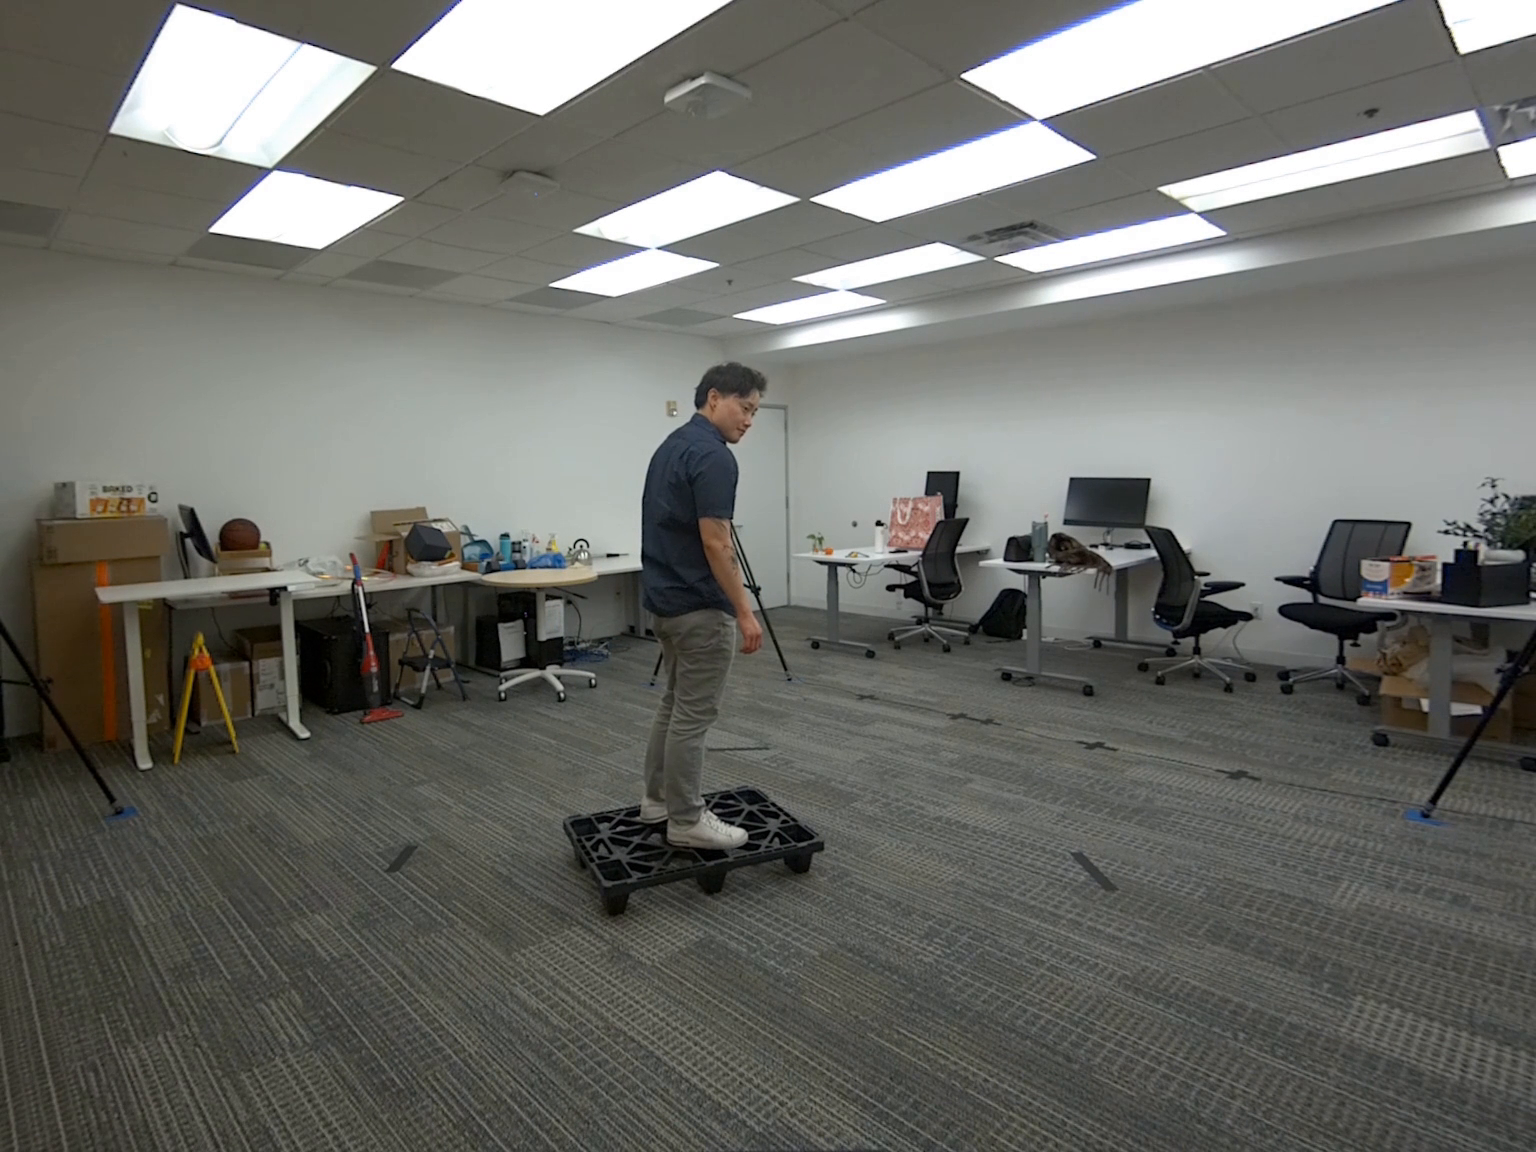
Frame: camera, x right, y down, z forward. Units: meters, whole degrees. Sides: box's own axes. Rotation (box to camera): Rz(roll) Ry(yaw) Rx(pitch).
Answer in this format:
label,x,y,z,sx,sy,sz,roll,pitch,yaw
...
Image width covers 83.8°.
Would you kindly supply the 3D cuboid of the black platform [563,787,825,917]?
label,x,y,z,sx,sy,sz,roll,pitch,yaw
black platform,-0.288,0.983,3.101,0.789,0.143,0.620,-4,7,-24
